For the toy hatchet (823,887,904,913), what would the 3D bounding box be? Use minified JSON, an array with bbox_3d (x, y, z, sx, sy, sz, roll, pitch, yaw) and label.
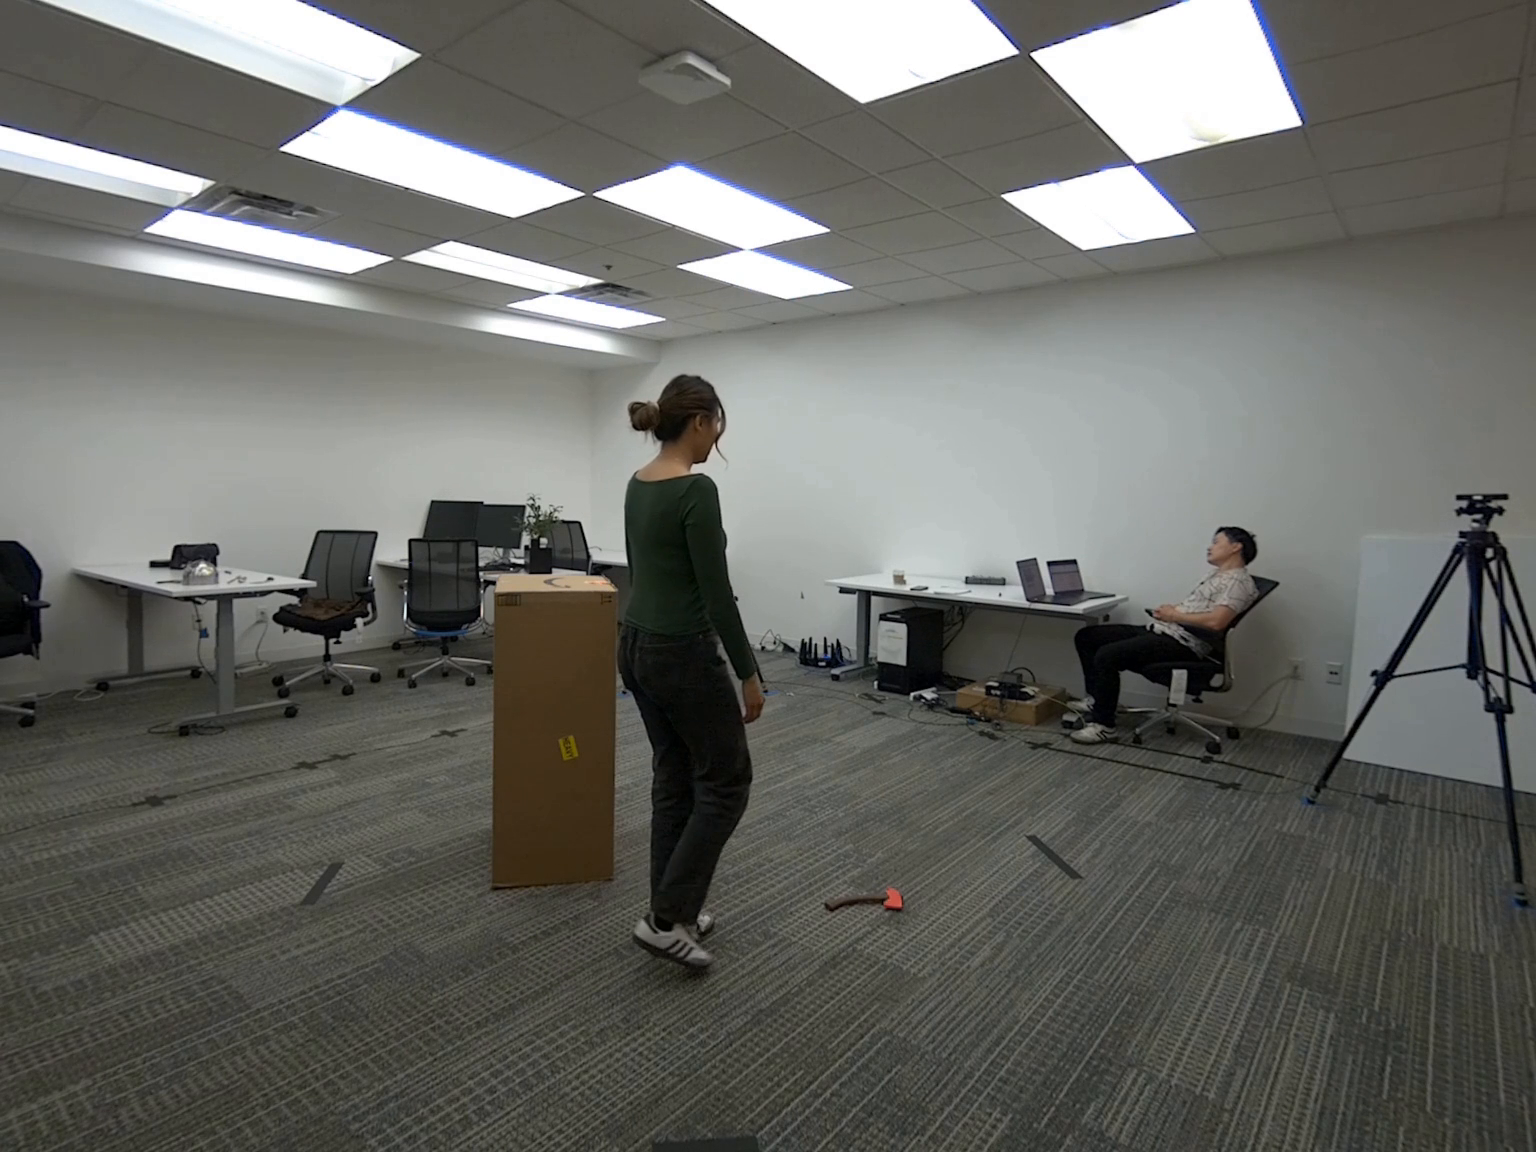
[{"bbox_3d":[0.316,1.084,2.837,0.264,0.029,0.135,-3,8,-26],"label":"toy hatchet"}]
